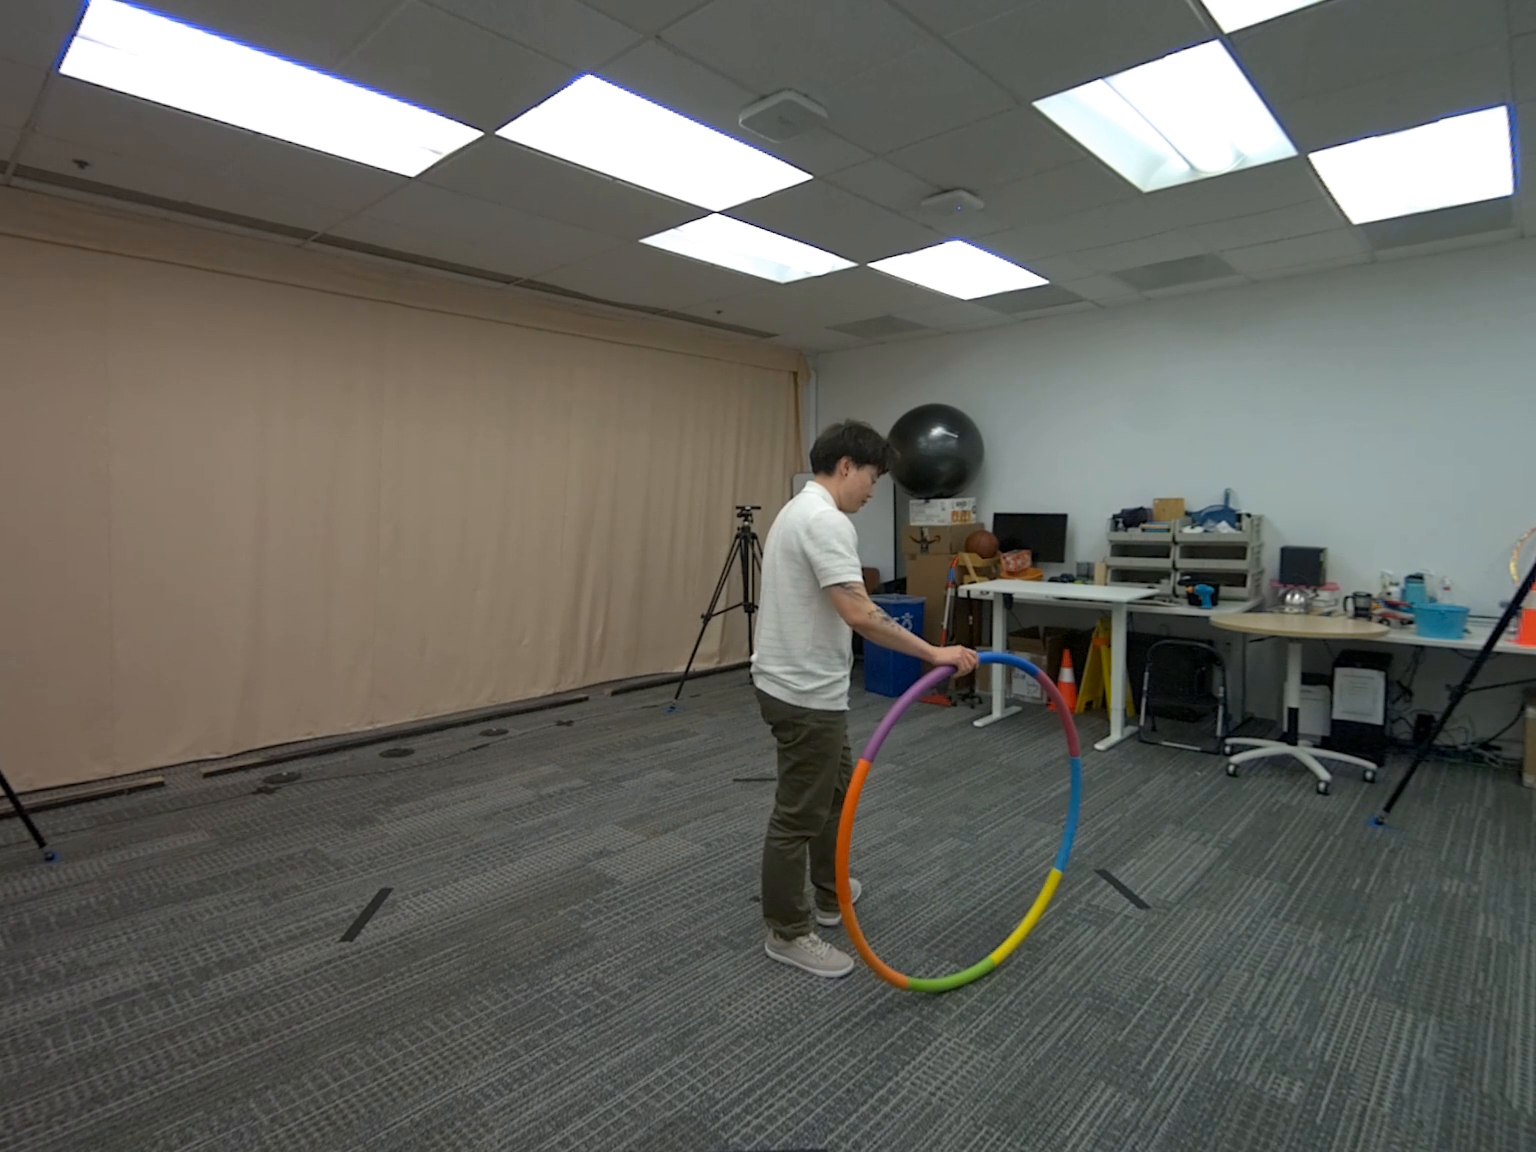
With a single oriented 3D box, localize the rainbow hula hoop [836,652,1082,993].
[{"bbox_3d":[0.585,0.702,2.418,0.951,0.975,0.037,-2,6,-33],"label":"rainbow hula hoop"}]
